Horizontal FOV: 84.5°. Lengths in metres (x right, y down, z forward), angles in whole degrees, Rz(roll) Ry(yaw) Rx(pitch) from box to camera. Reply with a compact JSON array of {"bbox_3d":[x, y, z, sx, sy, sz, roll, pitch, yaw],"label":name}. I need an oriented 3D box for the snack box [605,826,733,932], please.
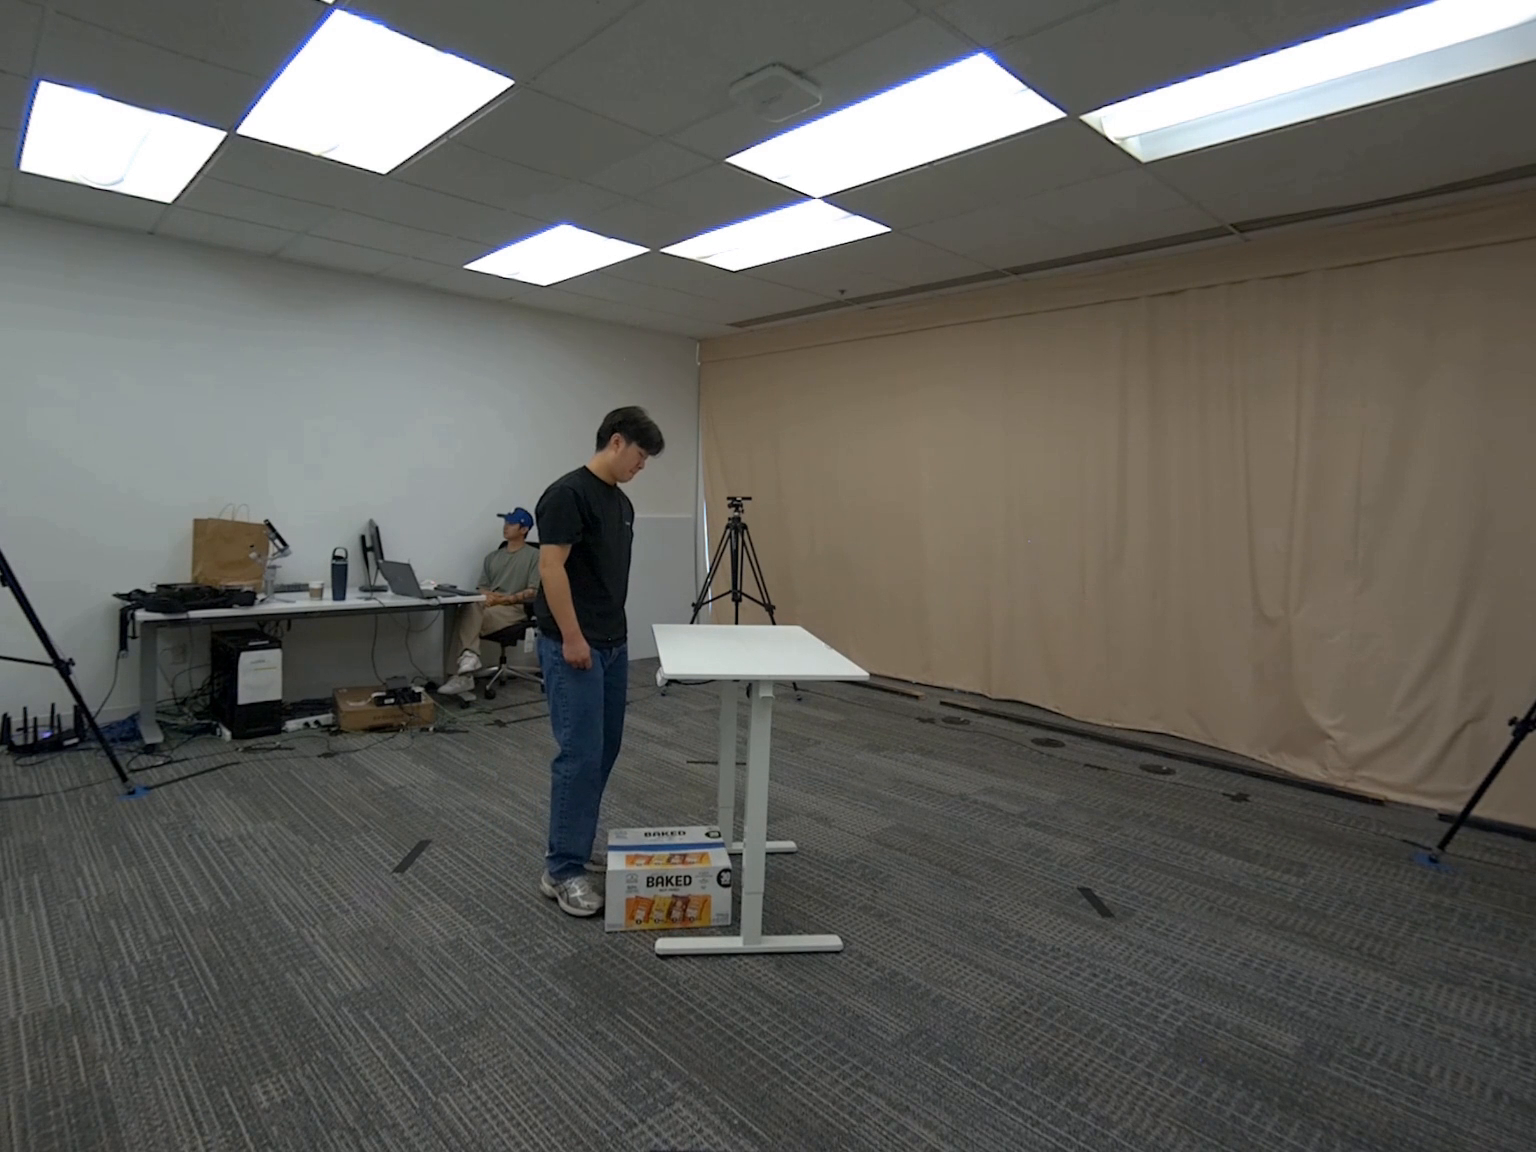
[{"bbox_3d":[-0.347,1.022,2.866,0.402,0.205,0.344,1,5,-10],"label":"snack box"}]
